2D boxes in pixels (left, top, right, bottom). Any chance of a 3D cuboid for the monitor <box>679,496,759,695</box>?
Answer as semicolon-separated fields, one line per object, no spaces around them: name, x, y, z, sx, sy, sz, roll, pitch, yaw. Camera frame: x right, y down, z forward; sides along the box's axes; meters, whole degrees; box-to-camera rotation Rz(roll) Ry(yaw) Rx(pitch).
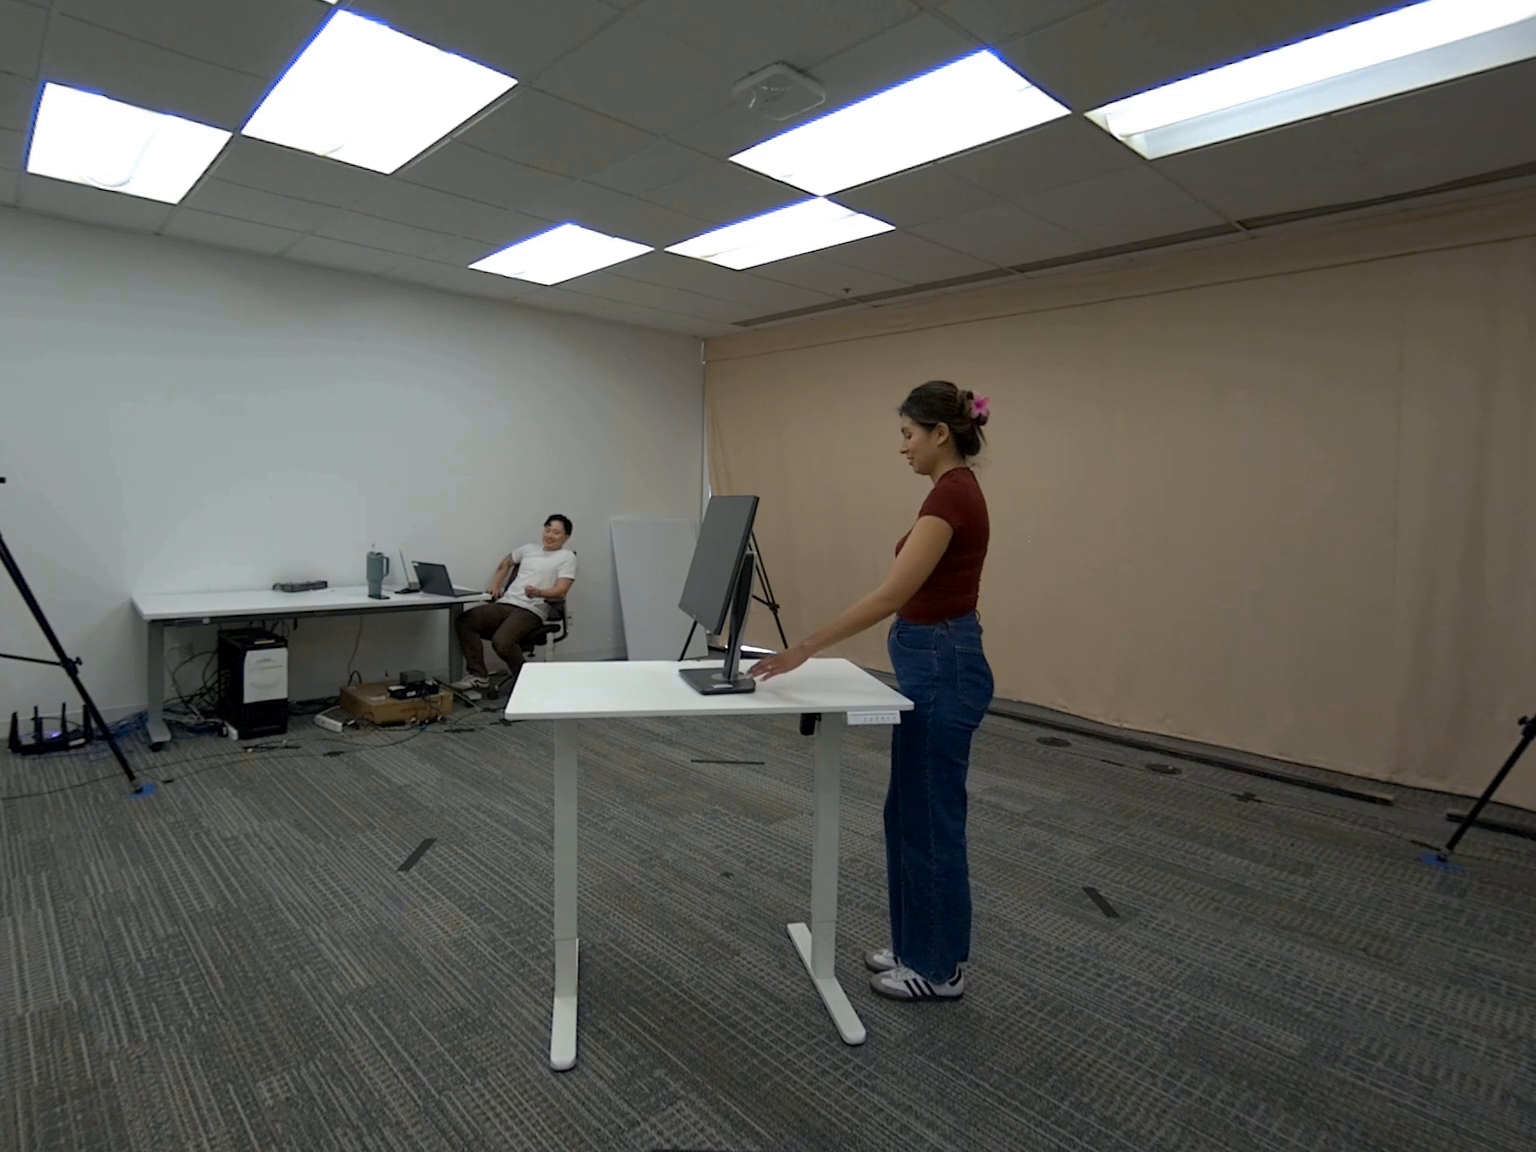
monitor;-0.119;0.042;2.300;0.184;0.522;0.547;3;2;-17
